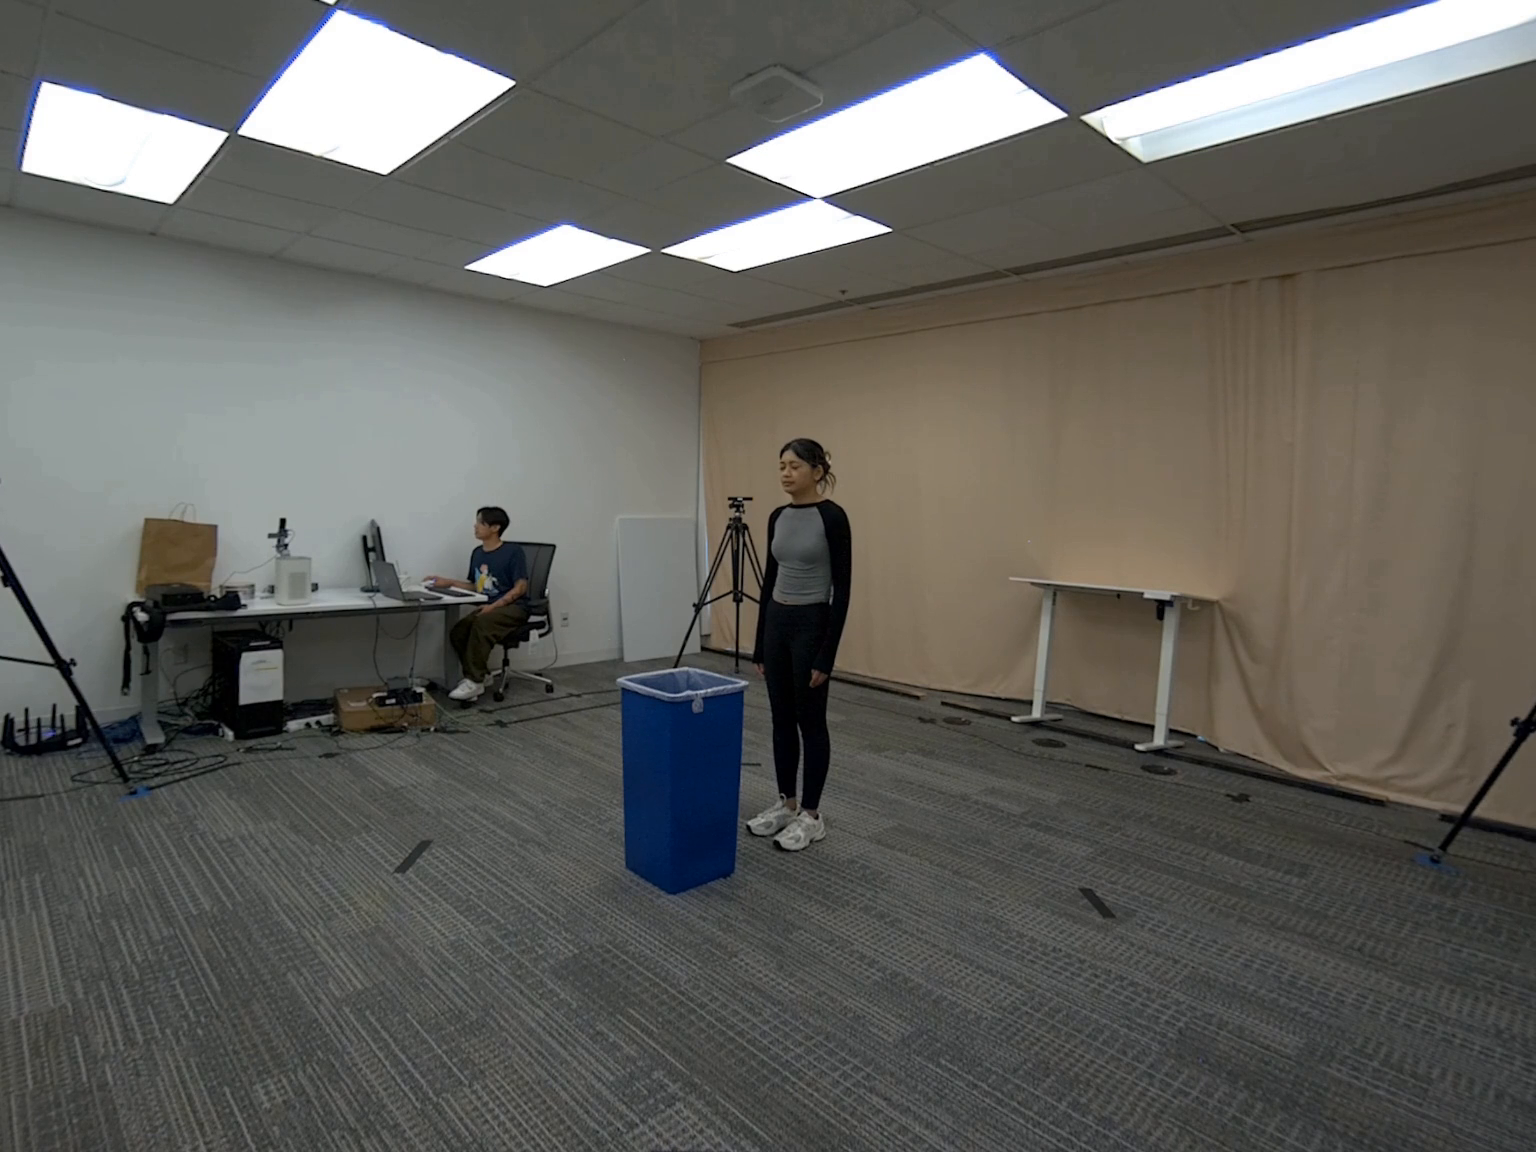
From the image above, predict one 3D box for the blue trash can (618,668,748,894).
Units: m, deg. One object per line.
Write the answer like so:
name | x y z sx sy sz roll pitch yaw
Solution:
blue trash can | -0.335 0.743 3.134 0.369 0.712 0.383 -1 4 -42
